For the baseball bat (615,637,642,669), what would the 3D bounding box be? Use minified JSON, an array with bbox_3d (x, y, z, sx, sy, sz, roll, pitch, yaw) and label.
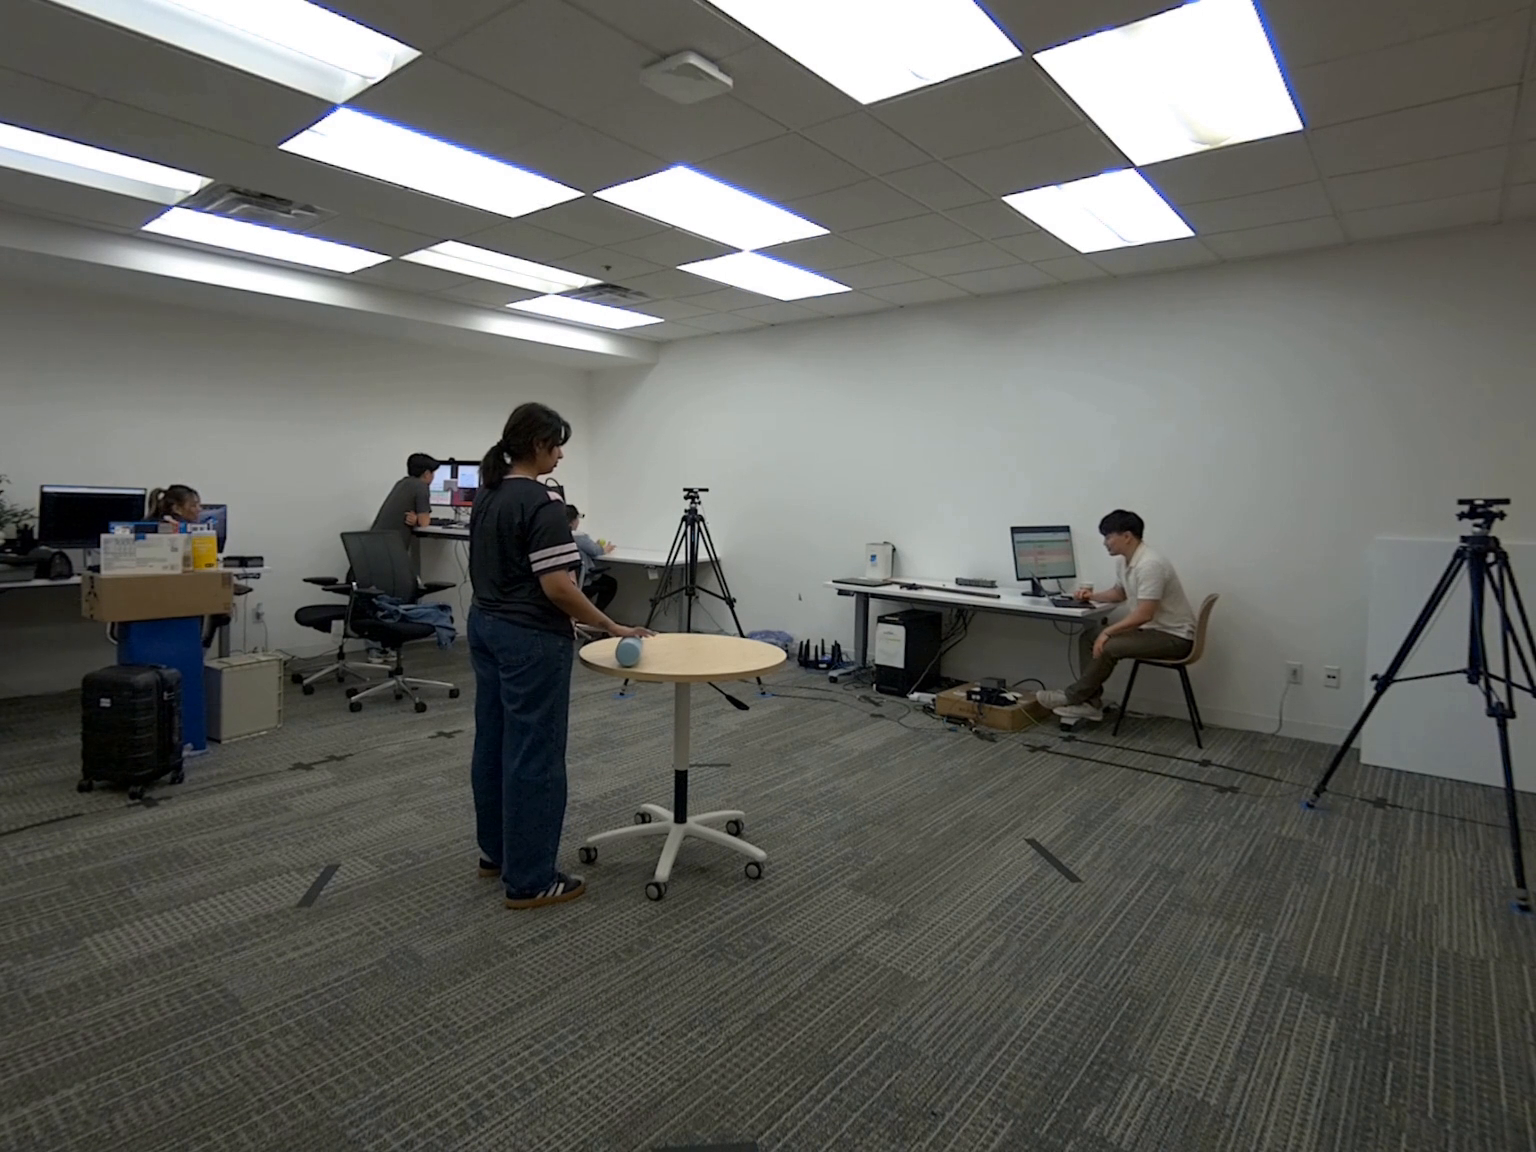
[{"bbox_3d":[-0.511,0.249,3.111,0.088,0.089,0.547,0,3,-8],"label":"baseball bat"}]
